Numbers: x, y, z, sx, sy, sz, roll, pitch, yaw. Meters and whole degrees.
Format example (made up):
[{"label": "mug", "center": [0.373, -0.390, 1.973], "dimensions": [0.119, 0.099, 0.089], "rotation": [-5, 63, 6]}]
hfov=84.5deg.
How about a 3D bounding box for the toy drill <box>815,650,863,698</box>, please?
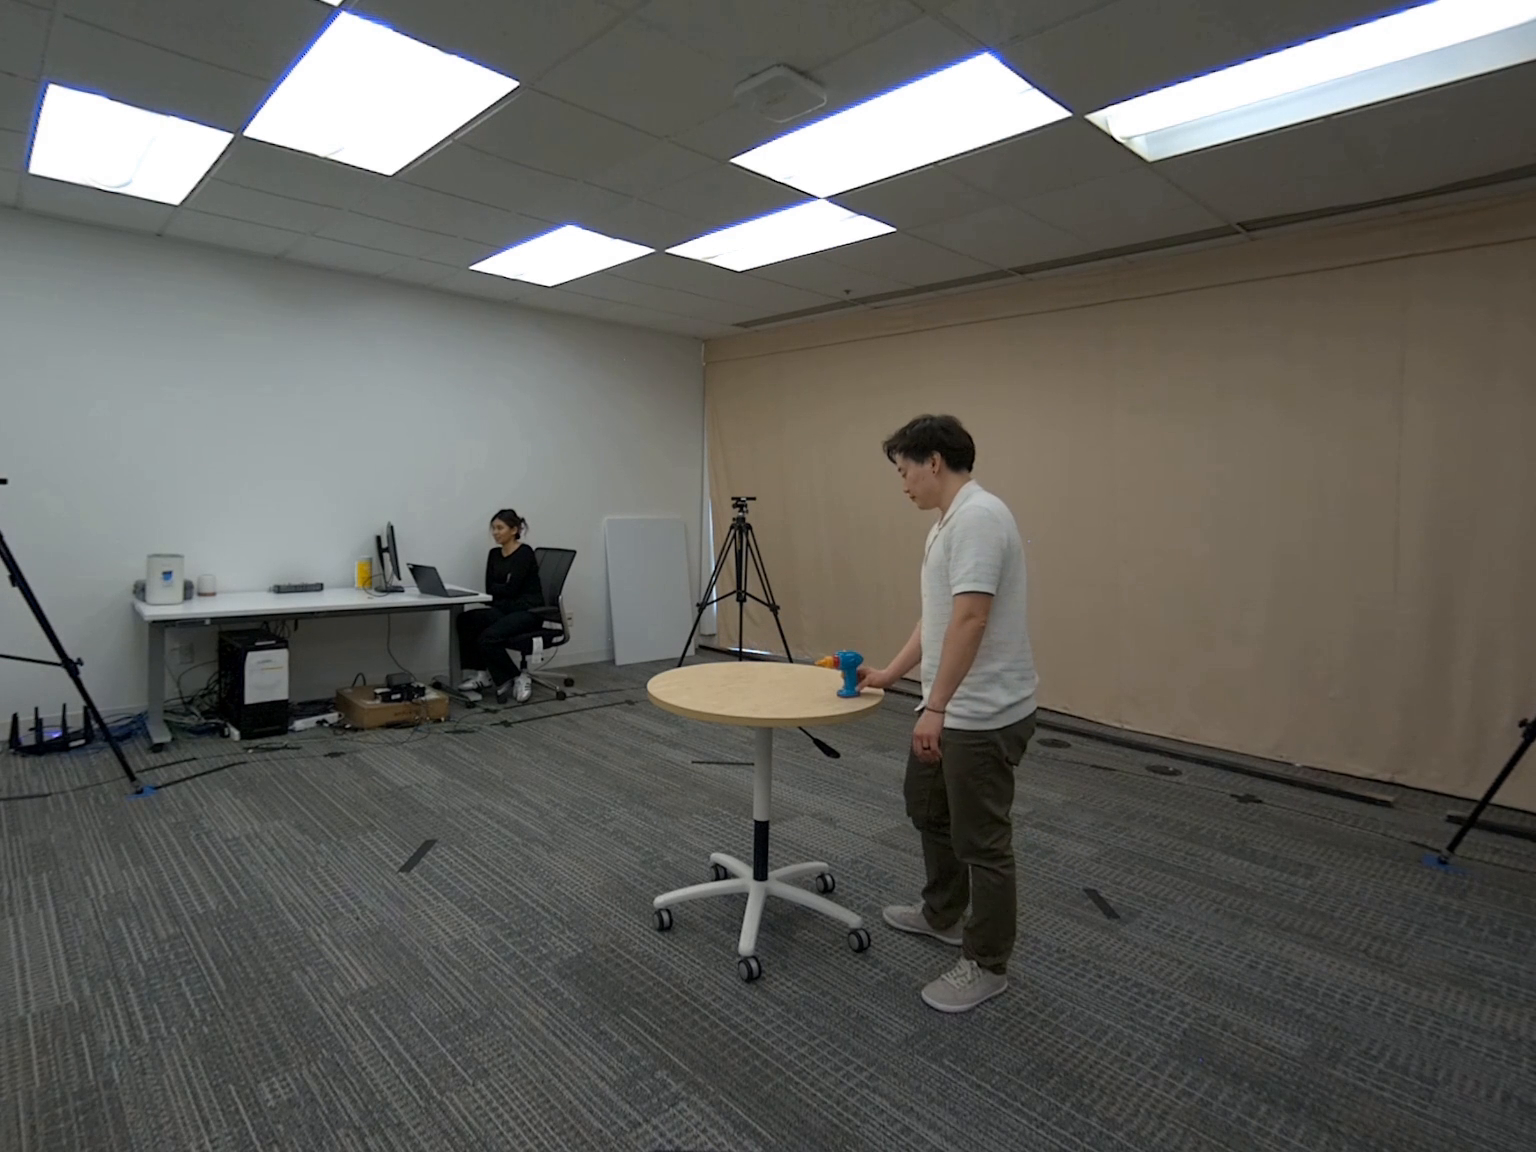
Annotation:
[{"label": "toy drill", "center": [0.212, 0.302, 2.622], "dimensions": [0.167, 0.146, 0.062], "rotation": [1, -3, -22]}]
